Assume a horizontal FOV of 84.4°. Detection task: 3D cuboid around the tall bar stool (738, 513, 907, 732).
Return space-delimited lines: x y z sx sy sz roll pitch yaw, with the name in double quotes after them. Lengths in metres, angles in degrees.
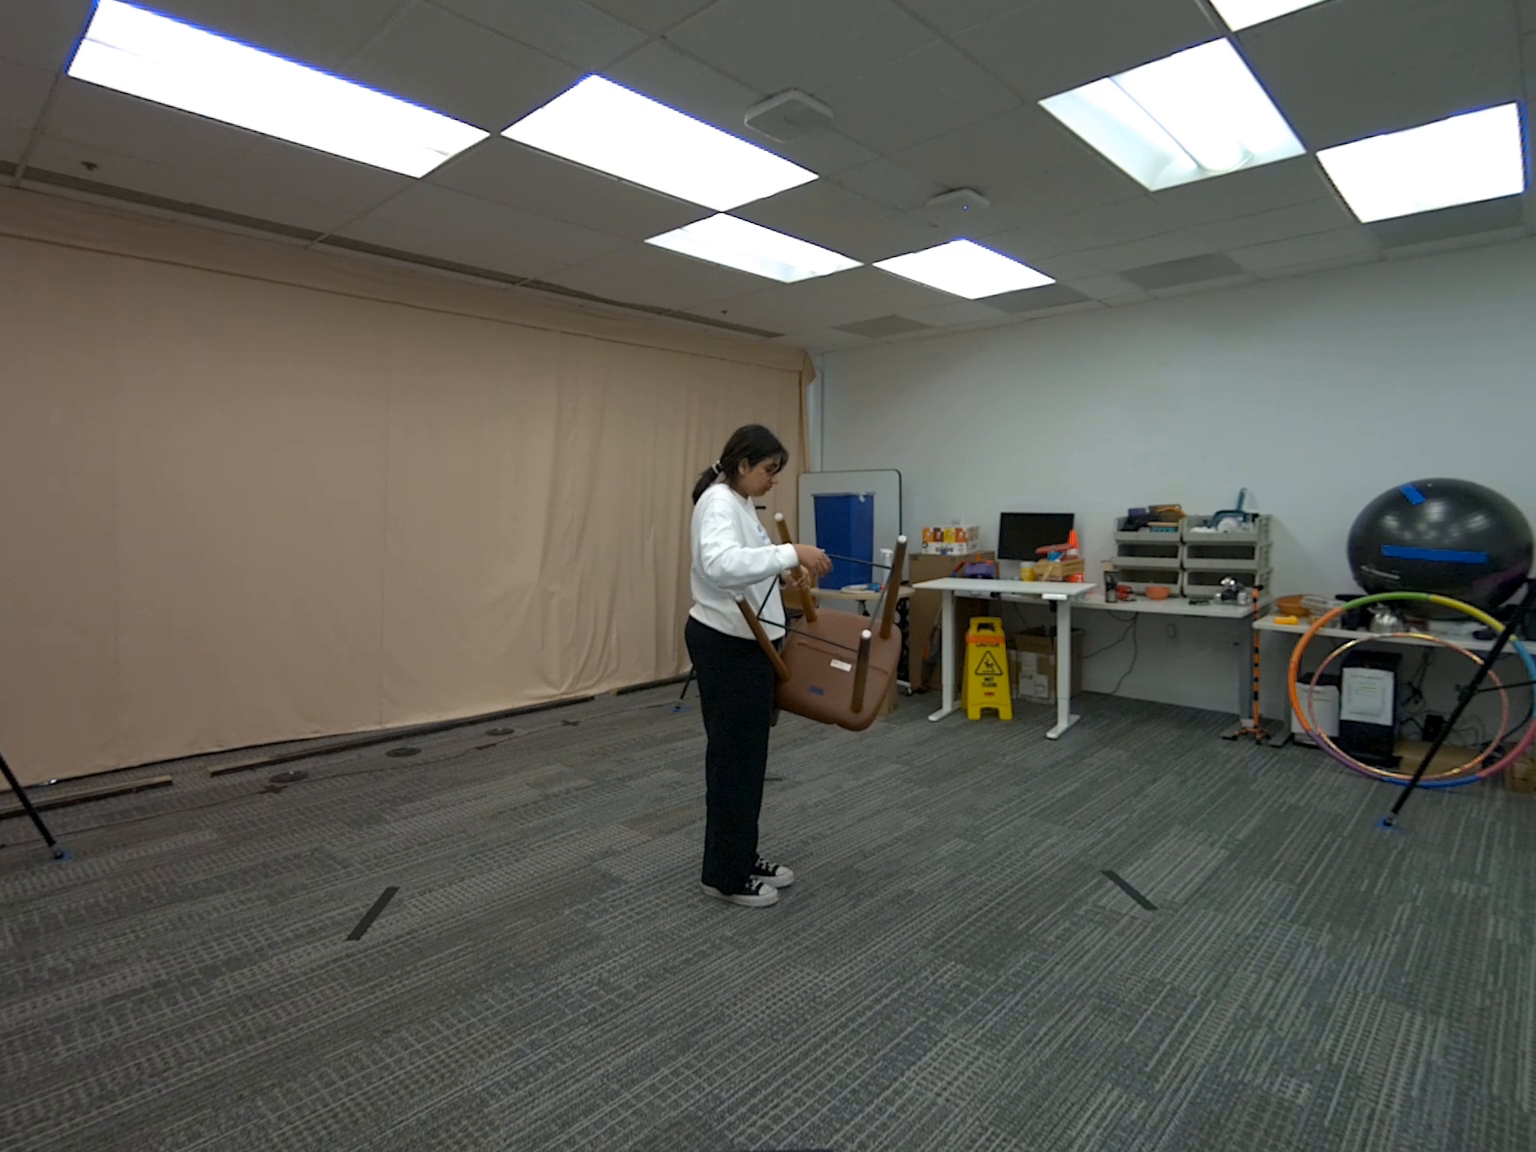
0.226 0.244 3.002 0.478 0.457 0.868 15 -33 18 "tall bar stool"
